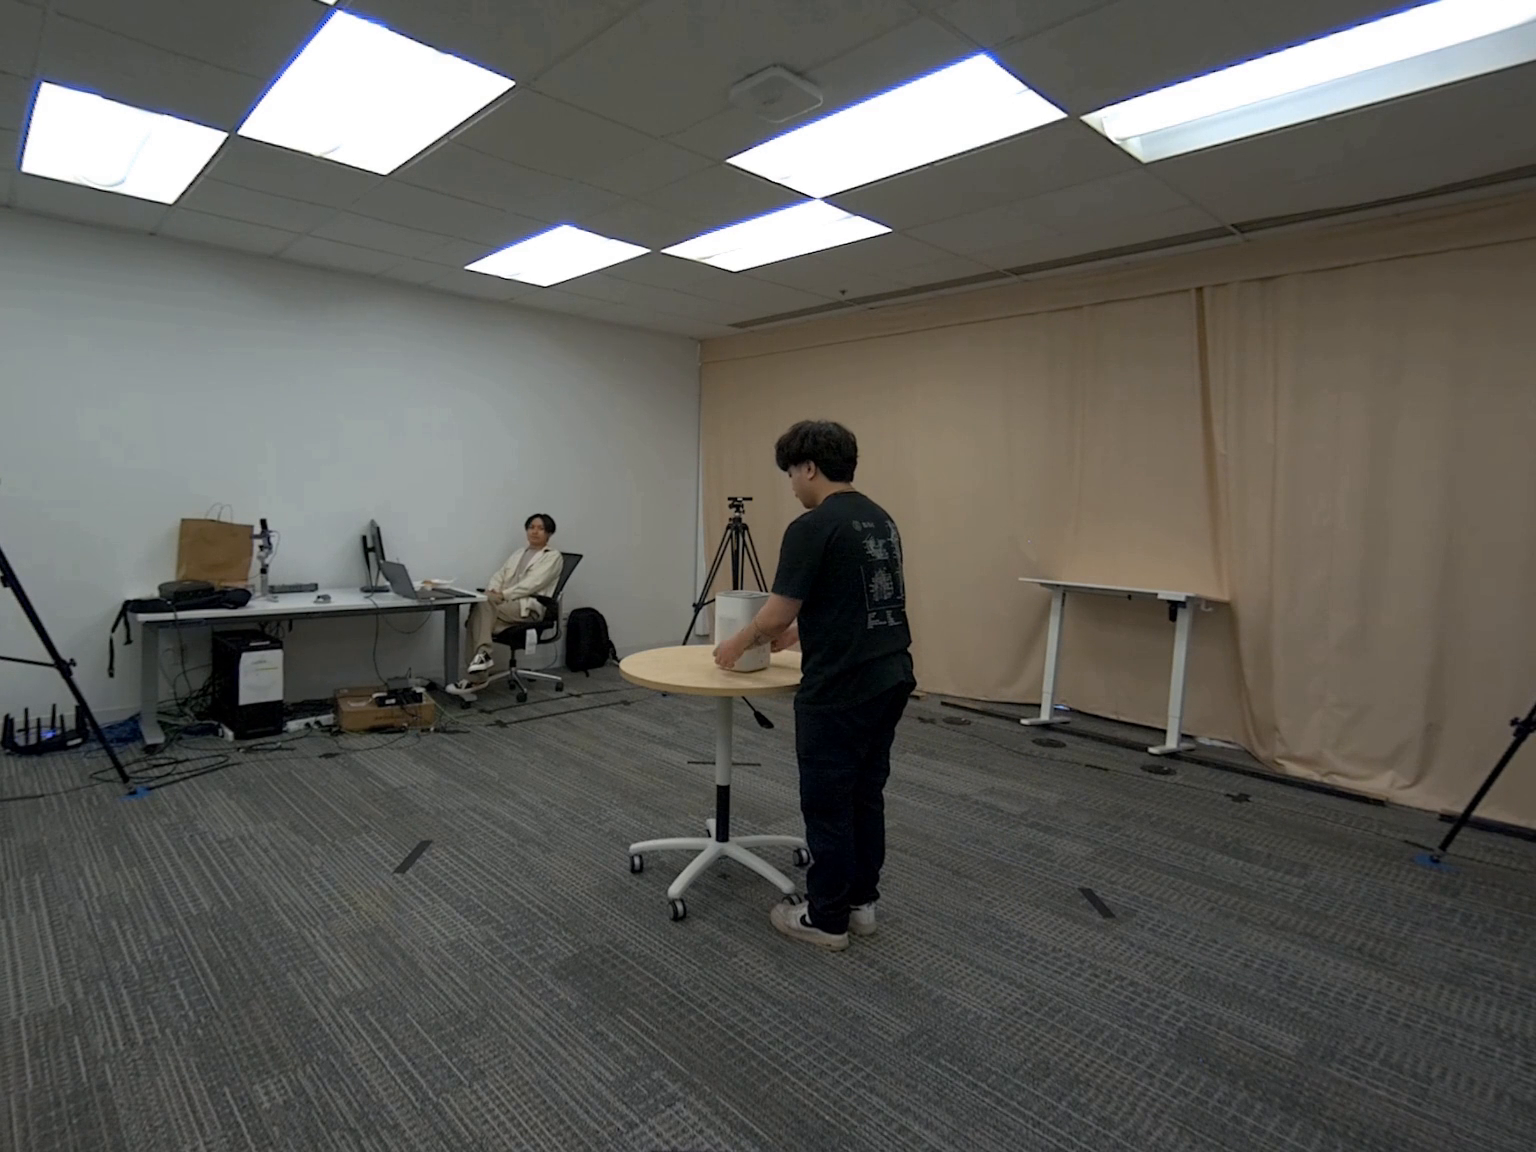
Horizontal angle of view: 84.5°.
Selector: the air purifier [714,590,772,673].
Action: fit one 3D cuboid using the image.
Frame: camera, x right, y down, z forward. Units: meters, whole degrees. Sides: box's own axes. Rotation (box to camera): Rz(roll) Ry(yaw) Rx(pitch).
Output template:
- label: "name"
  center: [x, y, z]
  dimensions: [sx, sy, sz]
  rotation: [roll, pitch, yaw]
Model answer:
- label: "air purifier"
  center: [-0.094, 0.194, 2.976]
  dimensions: [0.175, 0.265, 0.167]
  rotation: [3, 4, 35]
